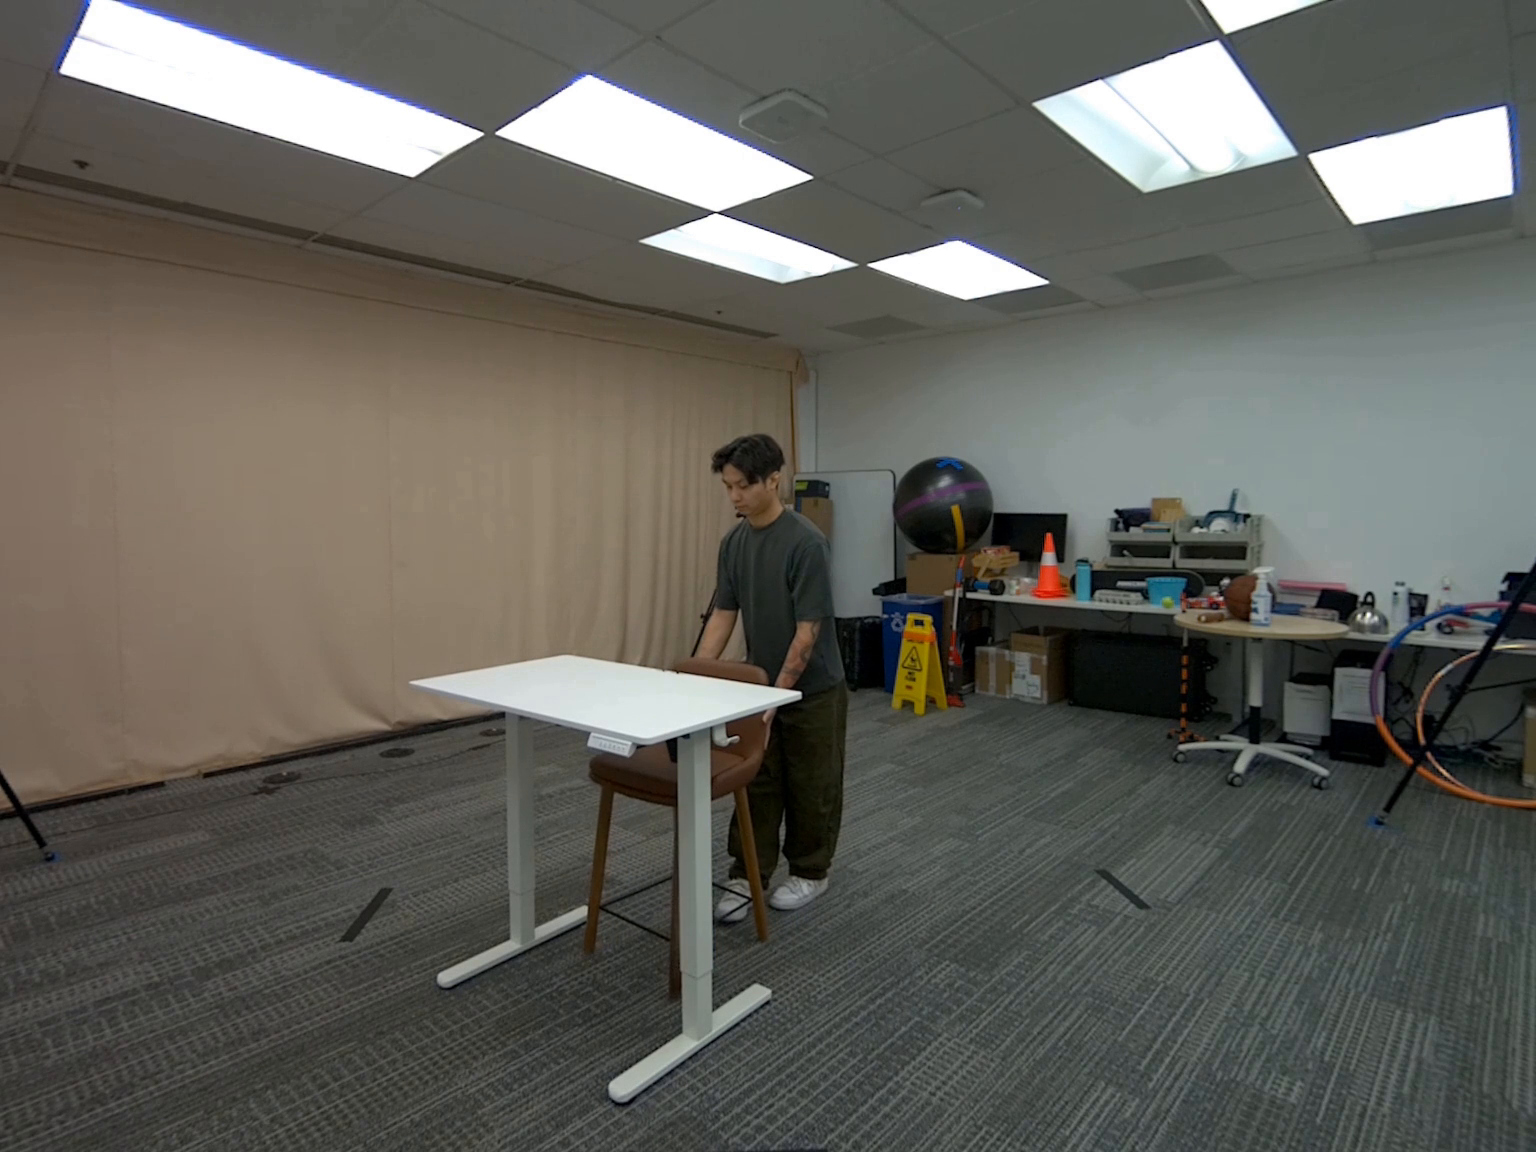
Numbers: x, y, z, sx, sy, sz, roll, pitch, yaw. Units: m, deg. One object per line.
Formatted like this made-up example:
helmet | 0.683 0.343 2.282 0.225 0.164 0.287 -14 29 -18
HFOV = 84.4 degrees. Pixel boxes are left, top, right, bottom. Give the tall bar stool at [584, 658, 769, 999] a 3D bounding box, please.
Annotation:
tall bar stool | -0.275 0.732 2.645 0.471 0.889 0.453 2 1 40
